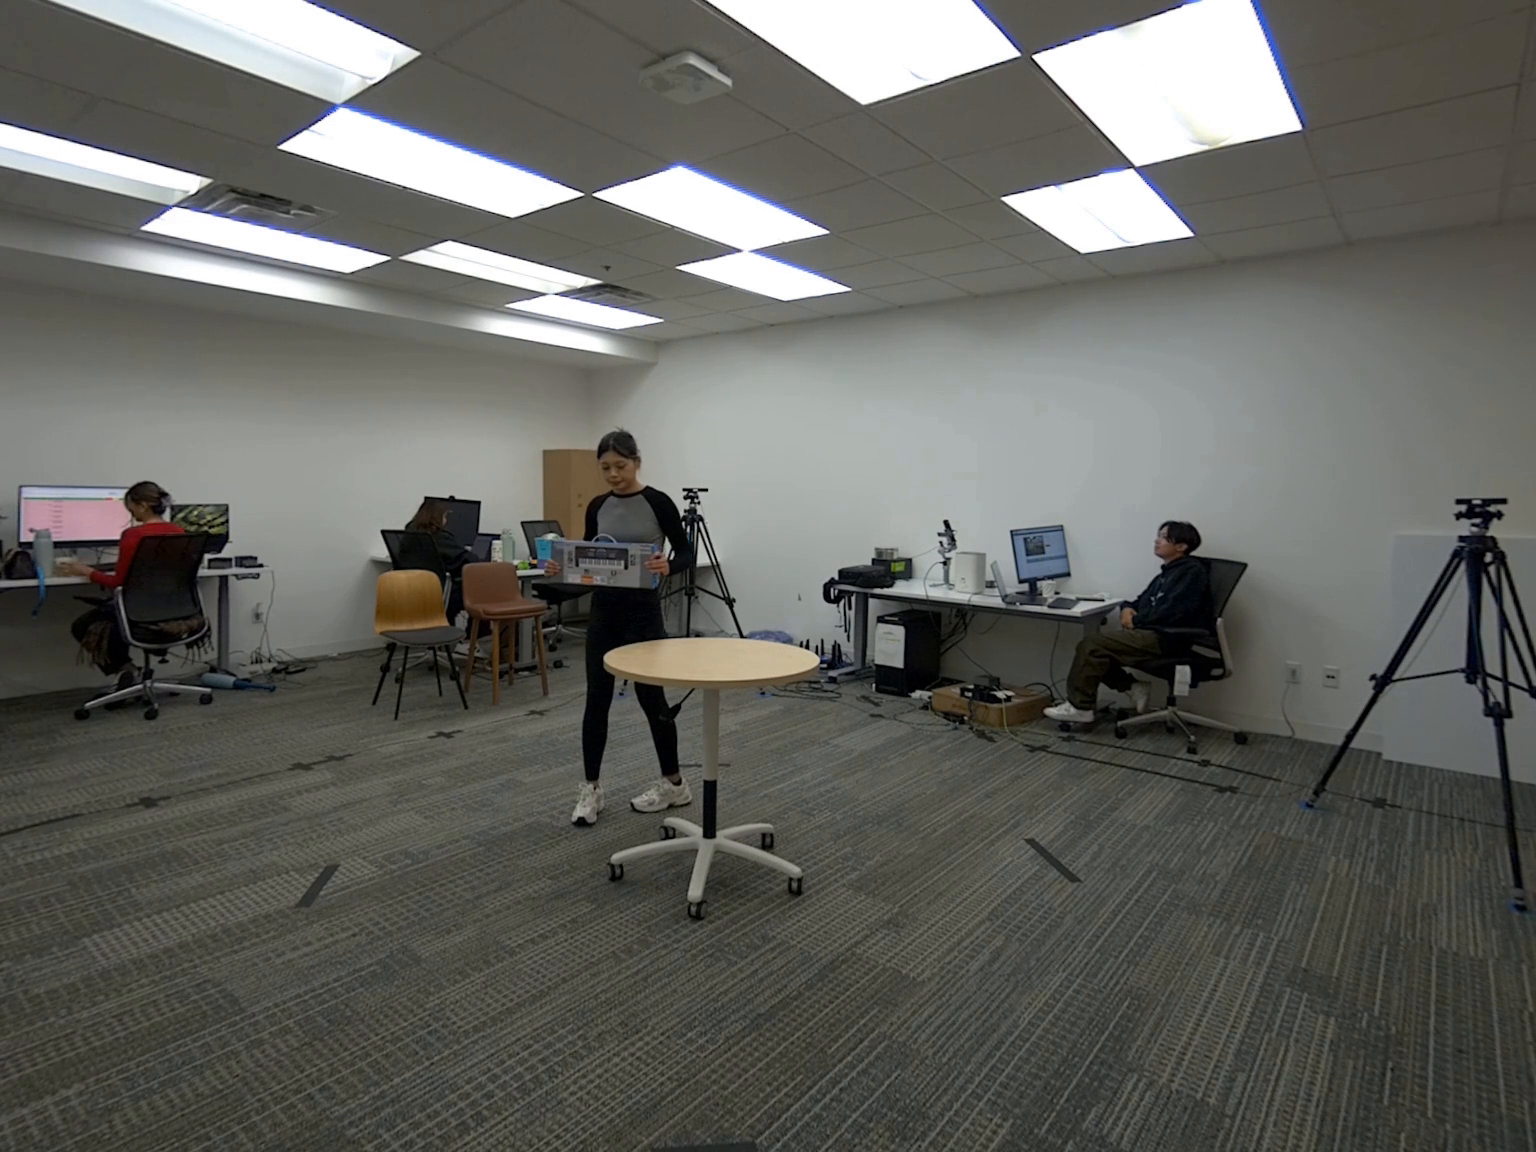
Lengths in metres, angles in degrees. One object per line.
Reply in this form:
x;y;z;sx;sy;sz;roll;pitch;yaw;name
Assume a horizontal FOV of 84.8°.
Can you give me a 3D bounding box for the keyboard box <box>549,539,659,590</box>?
-0.676;-0.054;3.427;0.443;0.175;0.058;3;6;12;keyboard box
